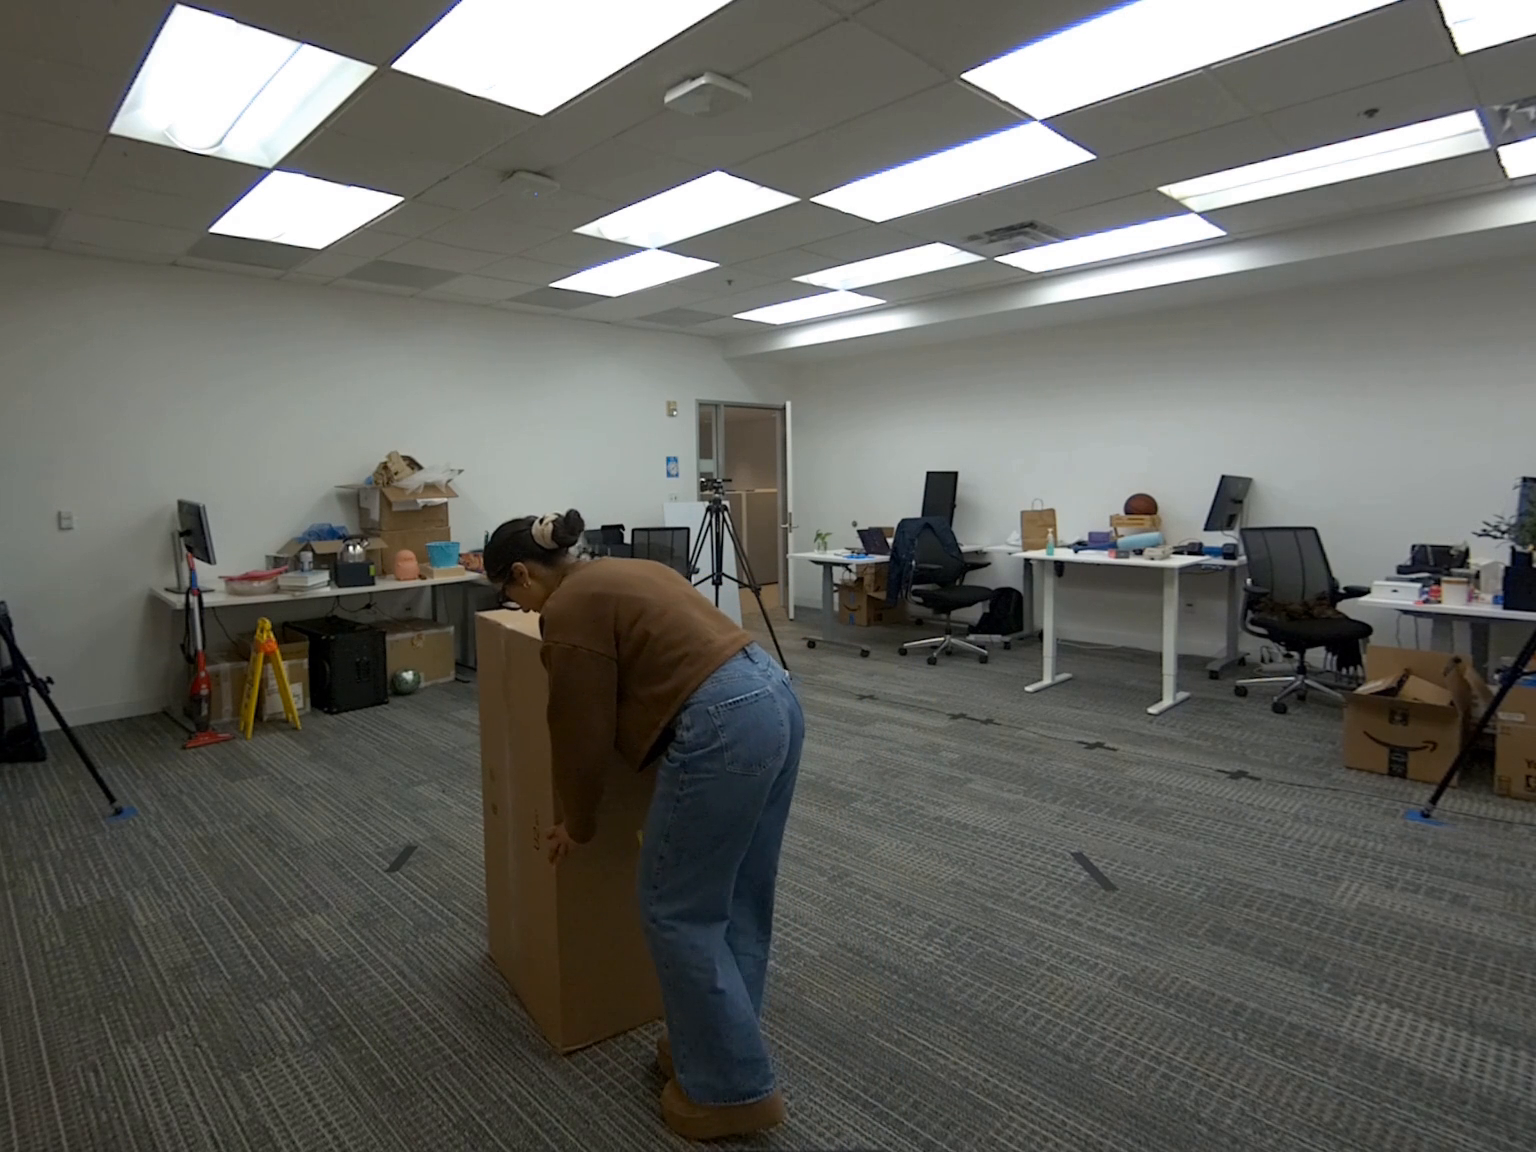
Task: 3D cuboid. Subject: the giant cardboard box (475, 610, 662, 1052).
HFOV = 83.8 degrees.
[{"bbox_3d":[-0.507,0.627,2.402,0.415,1.023,0.594,-4,4,-35],"label":"giant cardboard box"}]
